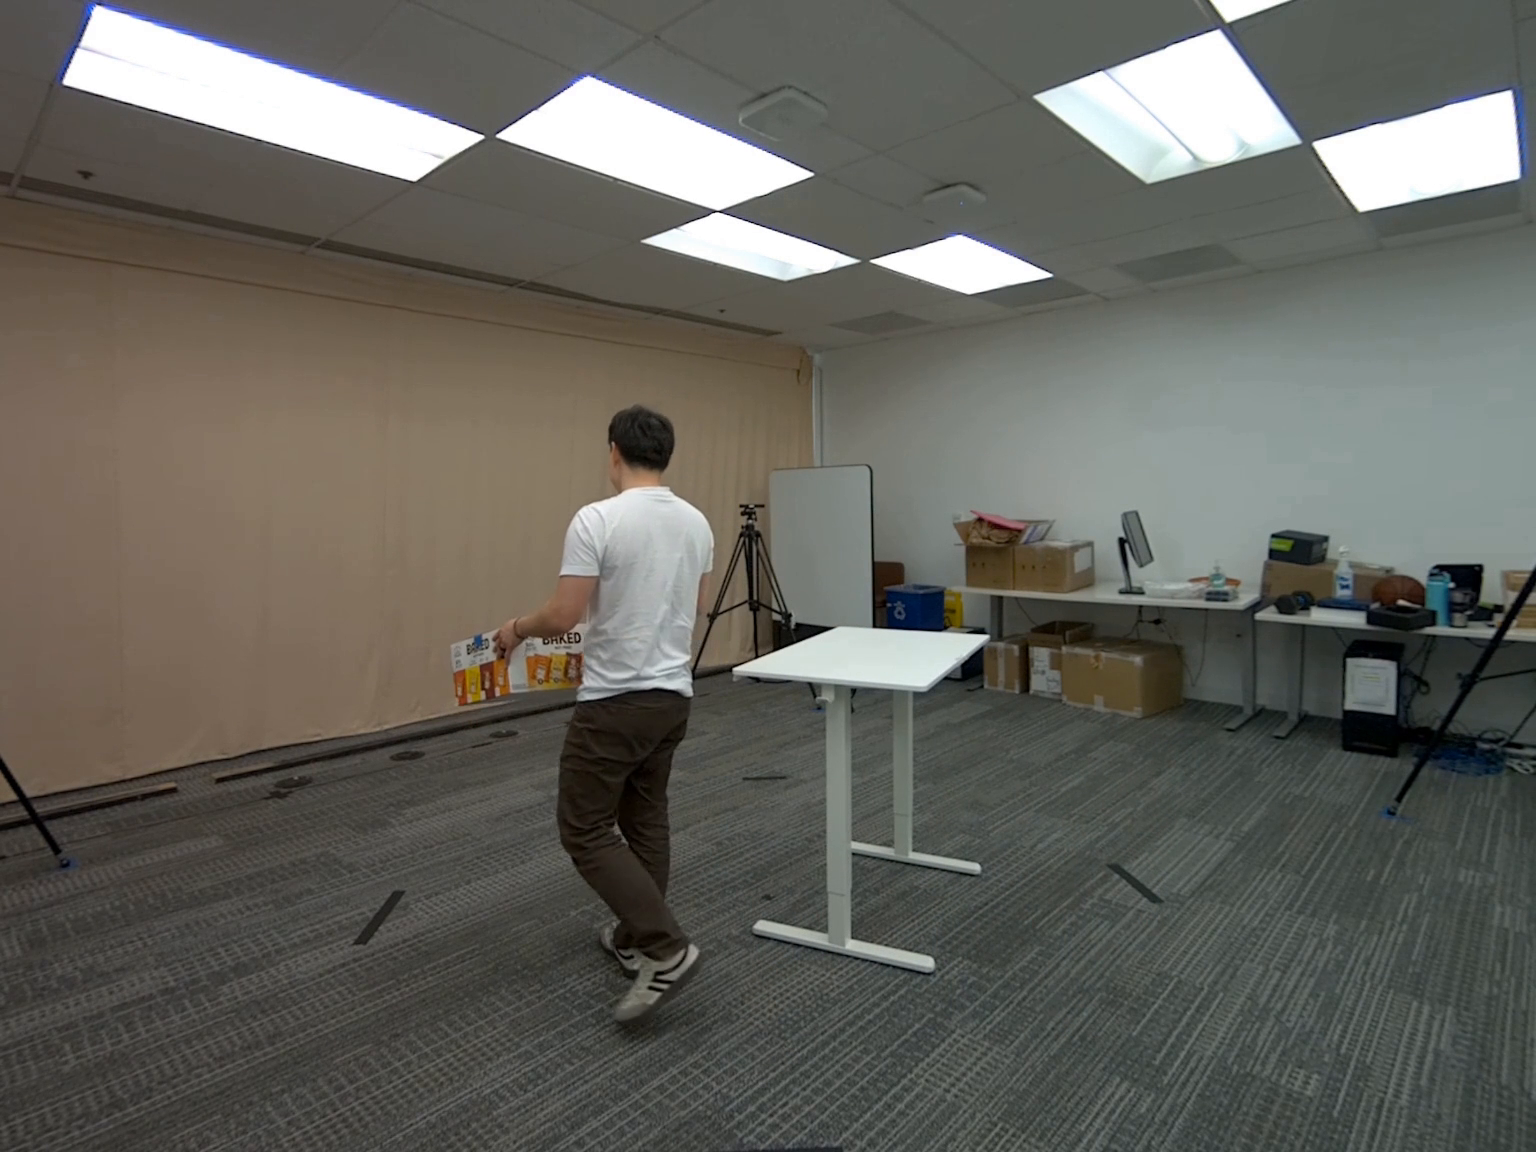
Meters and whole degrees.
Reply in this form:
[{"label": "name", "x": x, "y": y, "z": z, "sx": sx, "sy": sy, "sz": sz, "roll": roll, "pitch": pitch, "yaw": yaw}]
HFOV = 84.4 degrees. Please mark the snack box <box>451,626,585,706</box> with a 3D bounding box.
[{"label": "snack box", "x": -0.758, "y": 0.289, "z": 2.739, "sx": 0.349, "sy": 0.207, "sz": 0.392, "roll": -16, "pitch": -13, "yaw": 42}]
